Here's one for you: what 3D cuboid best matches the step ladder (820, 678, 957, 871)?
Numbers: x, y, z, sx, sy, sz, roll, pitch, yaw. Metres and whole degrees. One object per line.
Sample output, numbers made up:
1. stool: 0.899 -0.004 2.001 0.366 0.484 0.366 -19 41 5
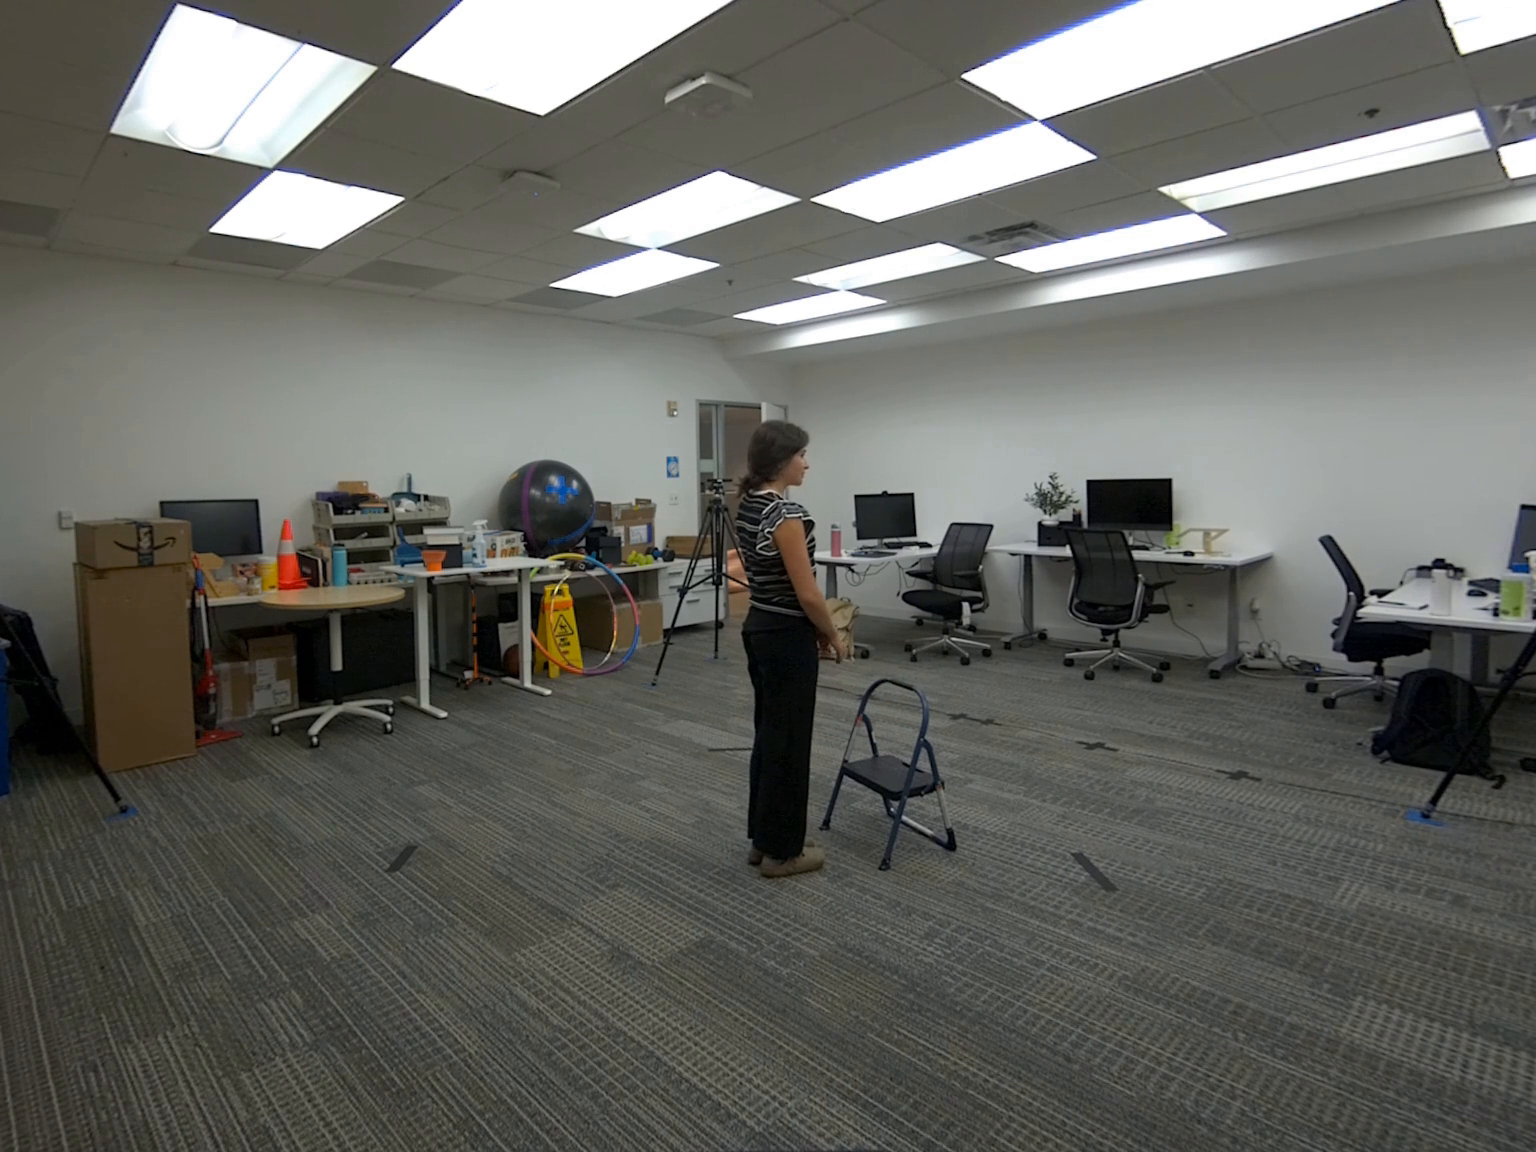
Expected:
1. step ladder: 0.453 0.714 3.280 0.341 0.604 0.442 -3 5 -28
